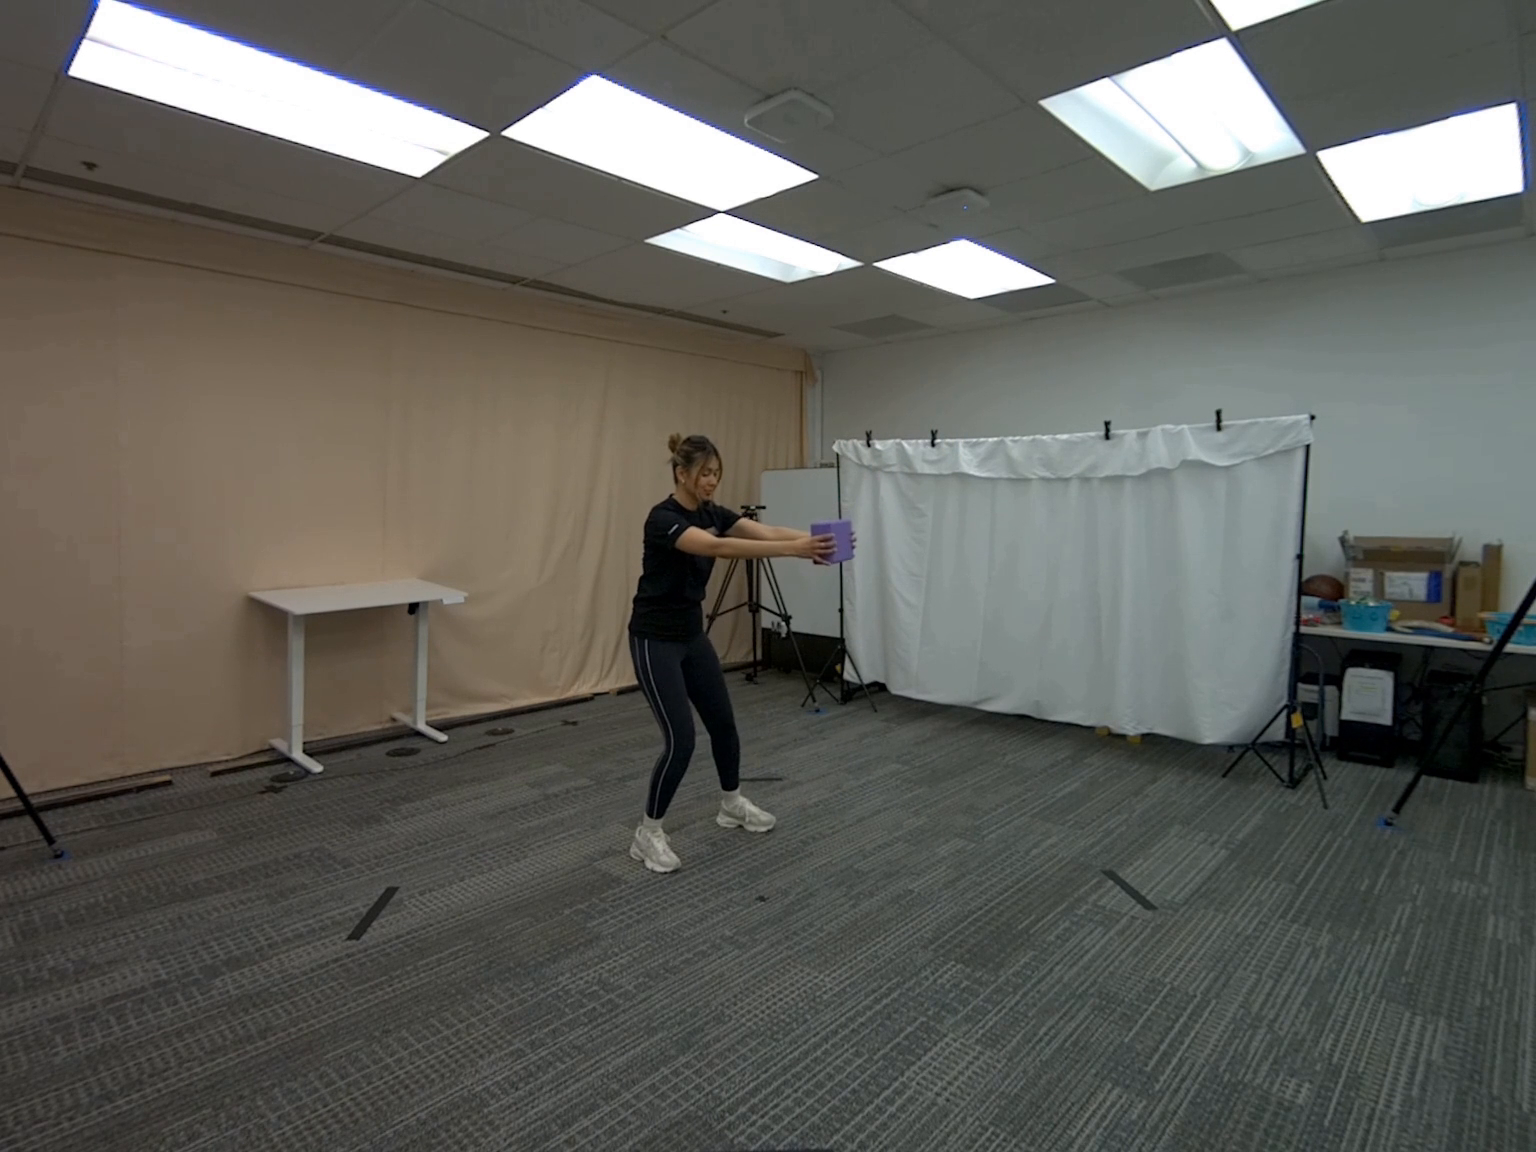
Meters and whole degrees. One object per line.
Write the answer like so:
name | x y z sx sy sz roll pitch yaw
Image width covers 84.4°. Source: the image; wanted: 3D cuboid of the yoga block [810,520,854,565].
yoga block | 0.239 -0.113 3.008 0.078 0.148 0.224 -1 5 25
